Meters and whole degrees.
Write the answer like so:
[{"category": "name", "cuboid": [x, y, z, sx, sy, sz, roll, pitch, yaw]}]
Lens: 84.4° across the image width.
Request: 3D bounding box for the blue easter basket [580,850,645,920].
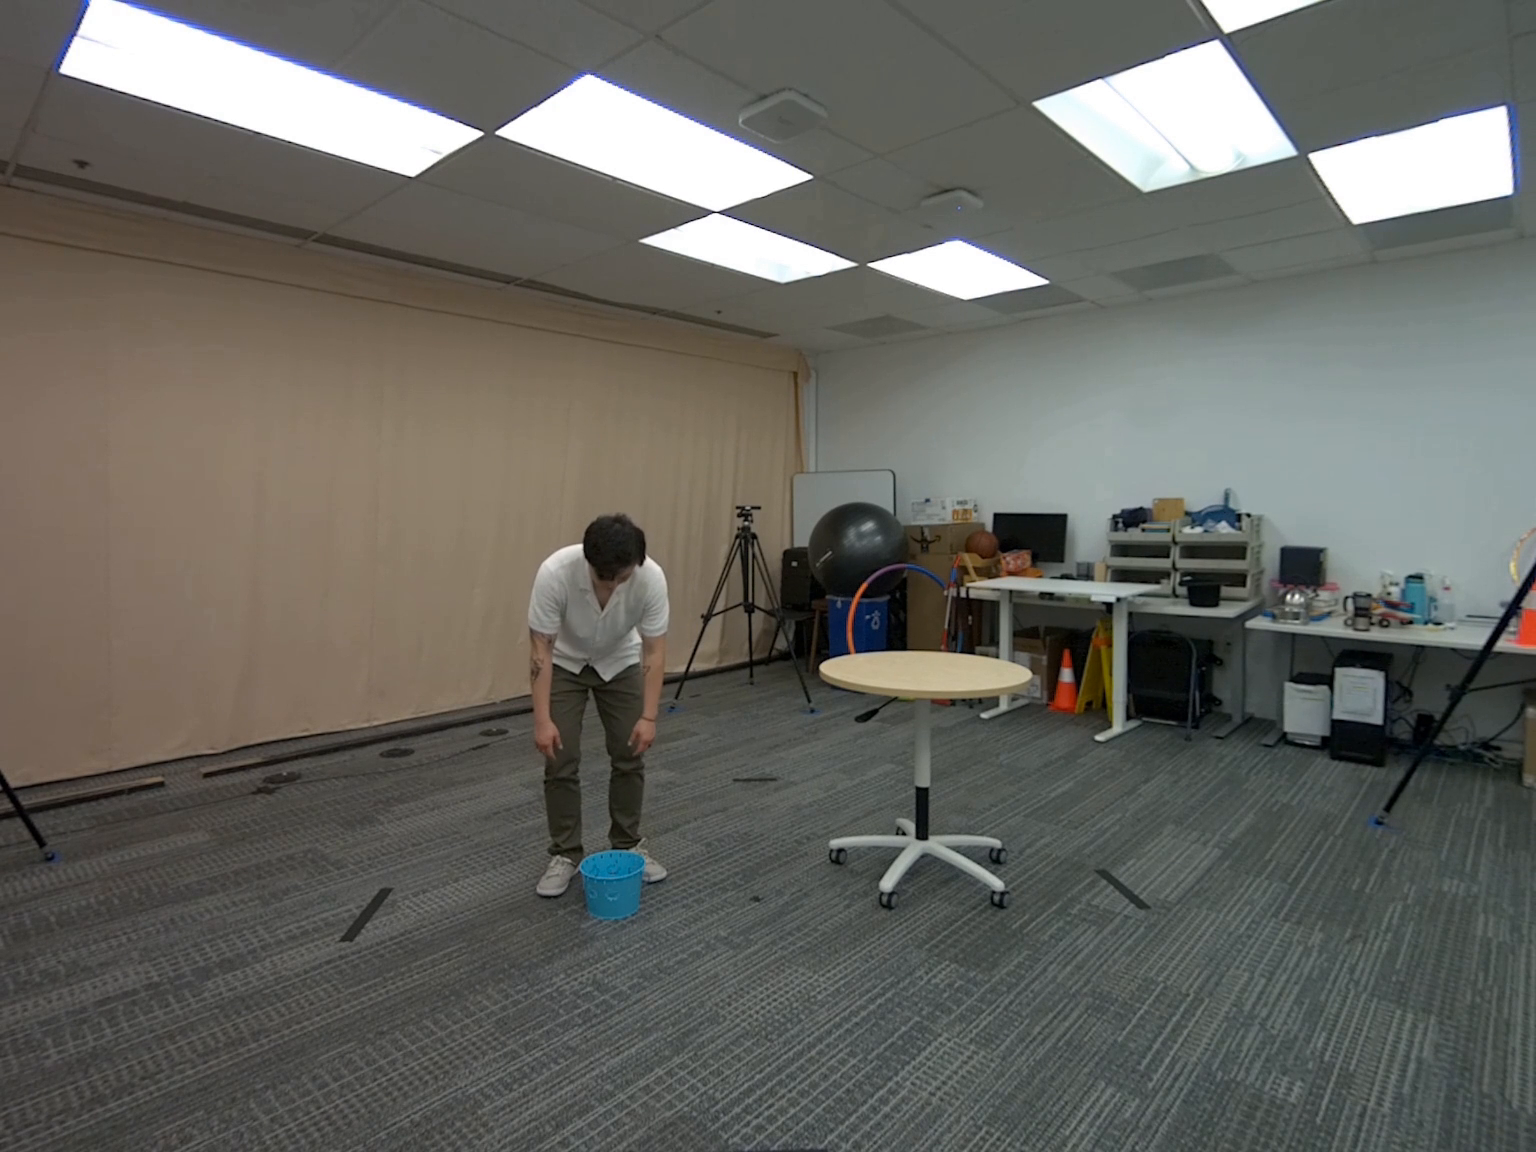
[{"category": "blue easter basket", "cuboid": [-0.534, 1.076, 2.924, 0.243, 0.155, 0.244, 0, 5, -2]}]
